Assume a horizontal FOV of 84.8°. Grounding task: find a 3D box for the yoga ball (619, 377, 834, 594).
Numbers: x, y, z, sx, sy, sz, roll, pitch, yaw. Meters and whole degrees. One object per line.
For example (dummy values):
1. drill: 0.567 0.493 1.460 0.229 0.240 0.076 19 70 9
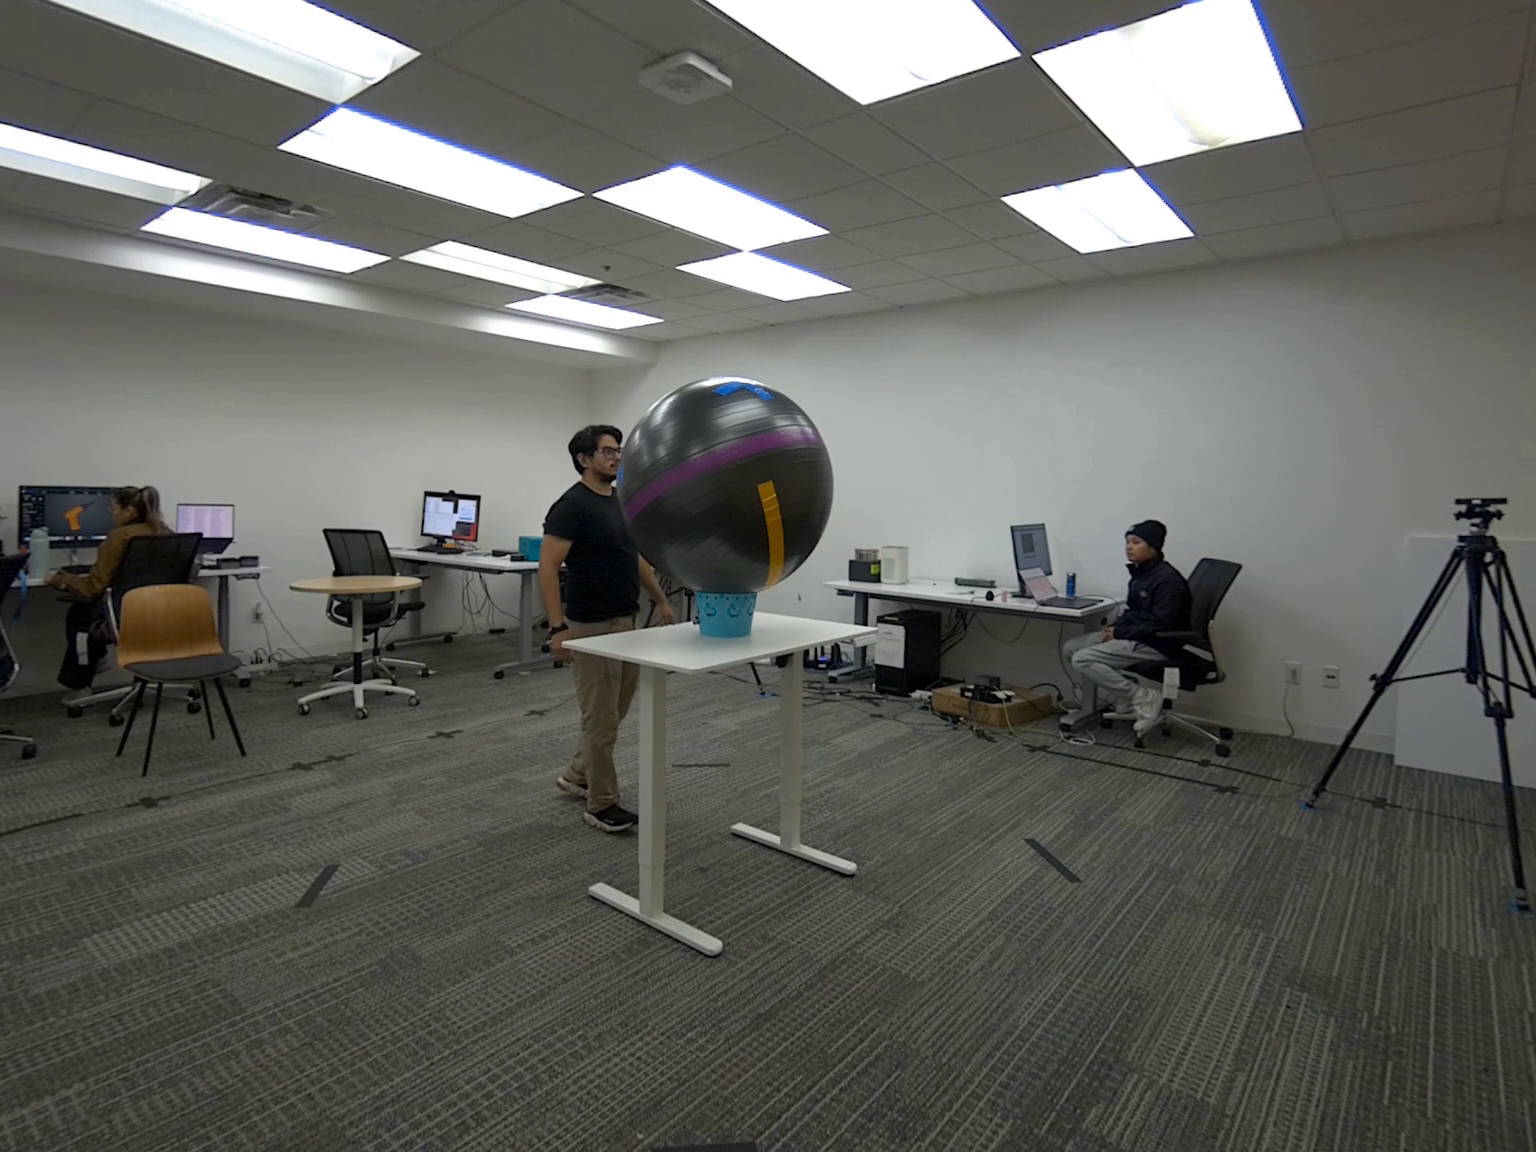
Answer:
1. yoga ball: -0.164 -0.309 2.974 0.757 0.755 0.762 1 4 -2
